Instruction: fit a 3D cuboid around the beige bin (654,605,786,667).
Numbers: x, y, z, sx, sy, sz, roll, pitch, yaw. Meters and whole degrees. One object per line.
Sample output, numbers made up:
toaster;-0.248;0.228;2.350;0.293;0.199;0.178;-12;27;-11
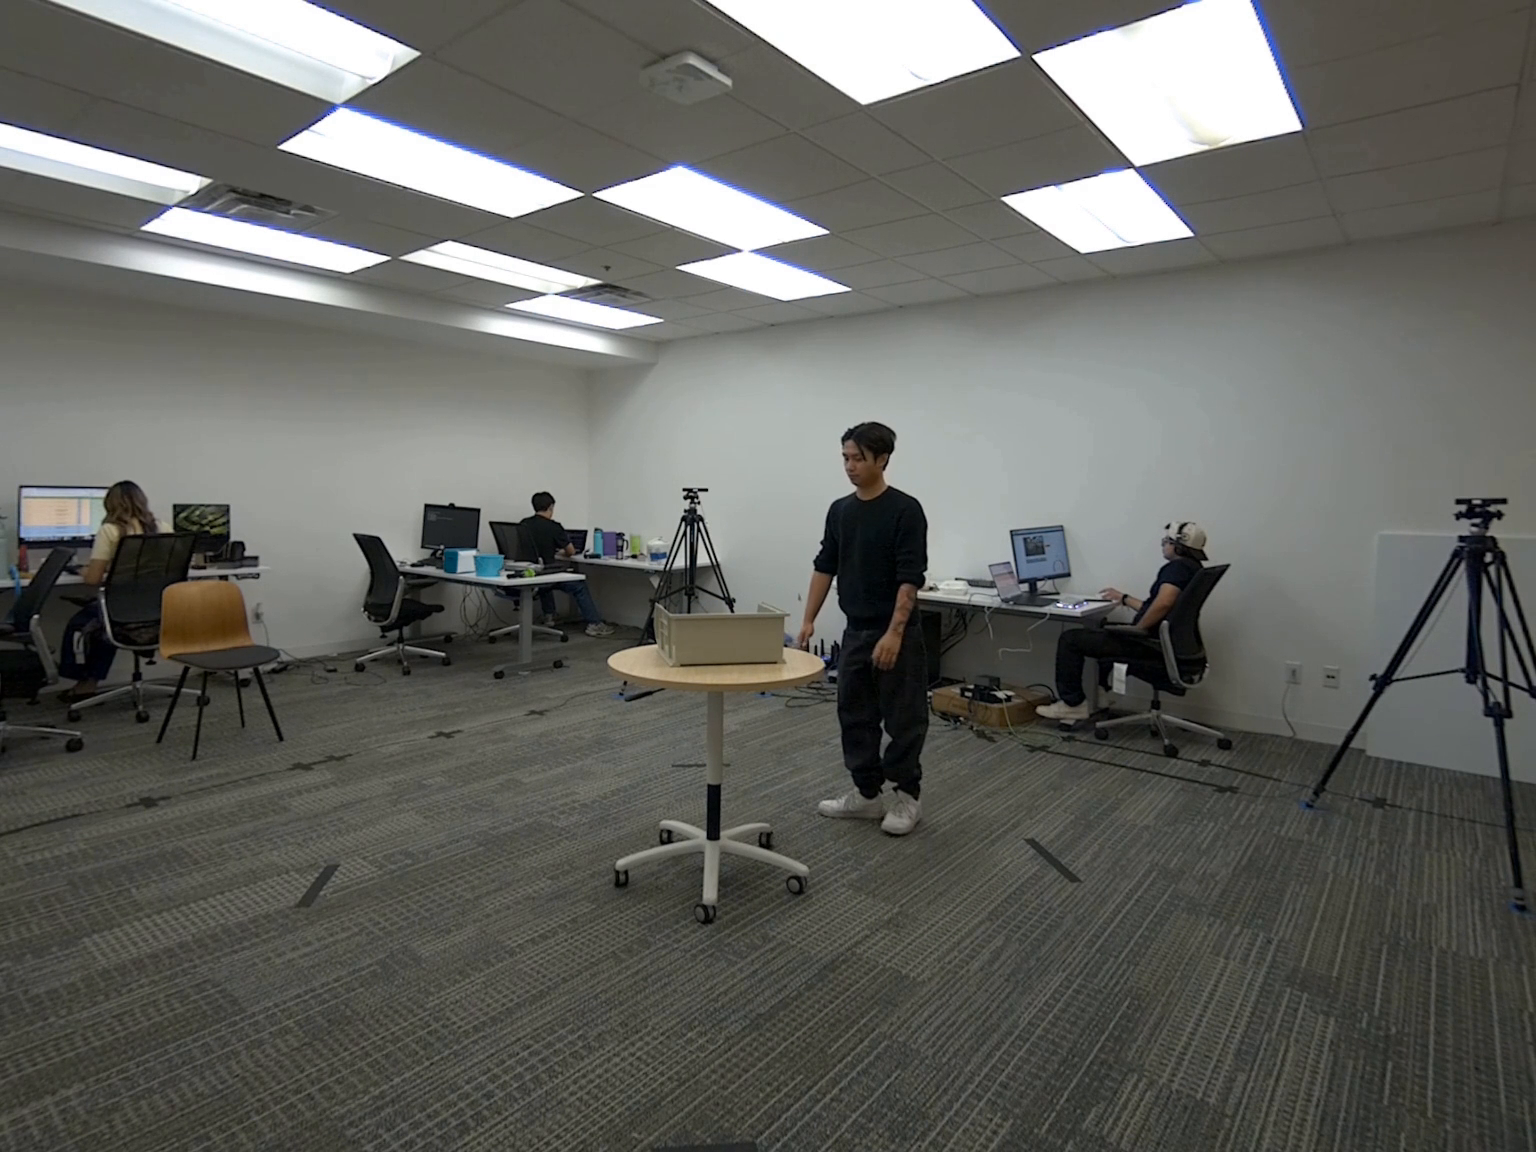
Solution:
beige bin;-0.191;0.202;3.092;0.416;0.188;0.384;0;5;-15
